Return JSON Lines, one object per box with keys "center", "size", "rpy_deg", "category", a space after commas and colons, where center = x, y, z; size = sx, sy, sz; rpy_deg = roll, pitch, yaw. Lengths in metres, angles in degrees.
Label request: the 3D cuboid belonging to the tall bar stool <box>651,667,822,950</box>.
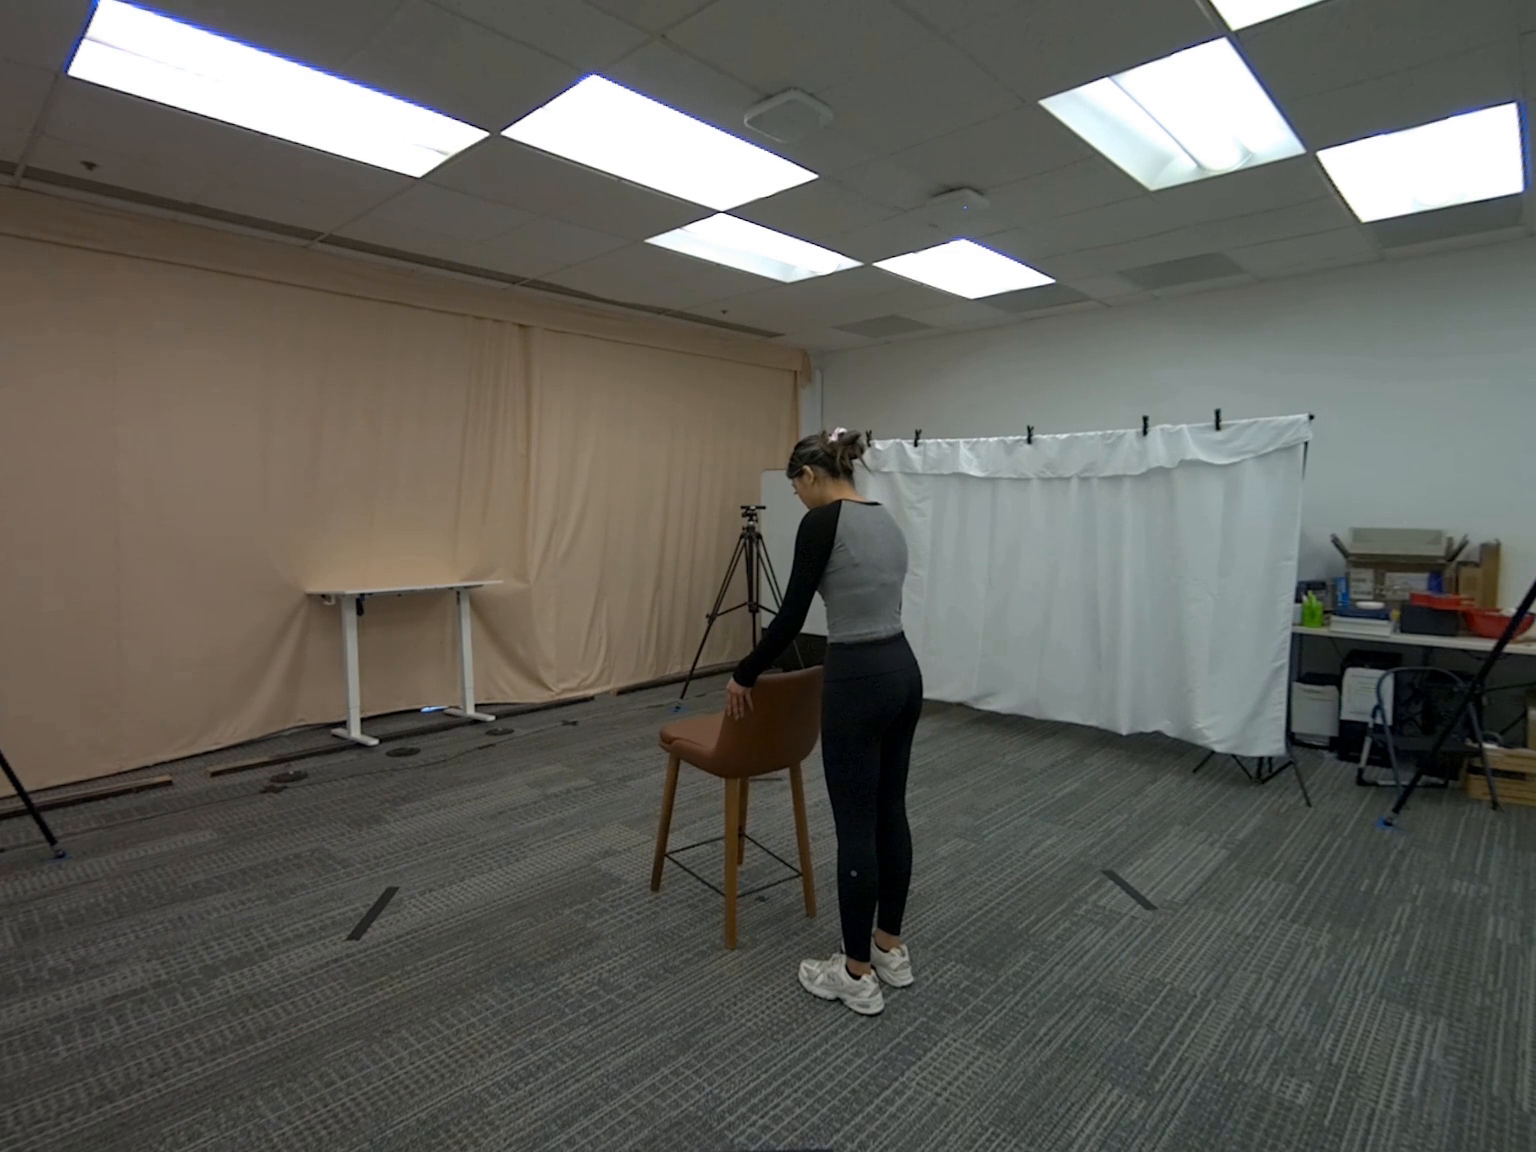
{"center": [-0.095, 0.703, 2.870], "size": [0.443, 0.886, 0.484], "rpy_deg": [-2, 10, -38], "category": "tall bar stool"}
